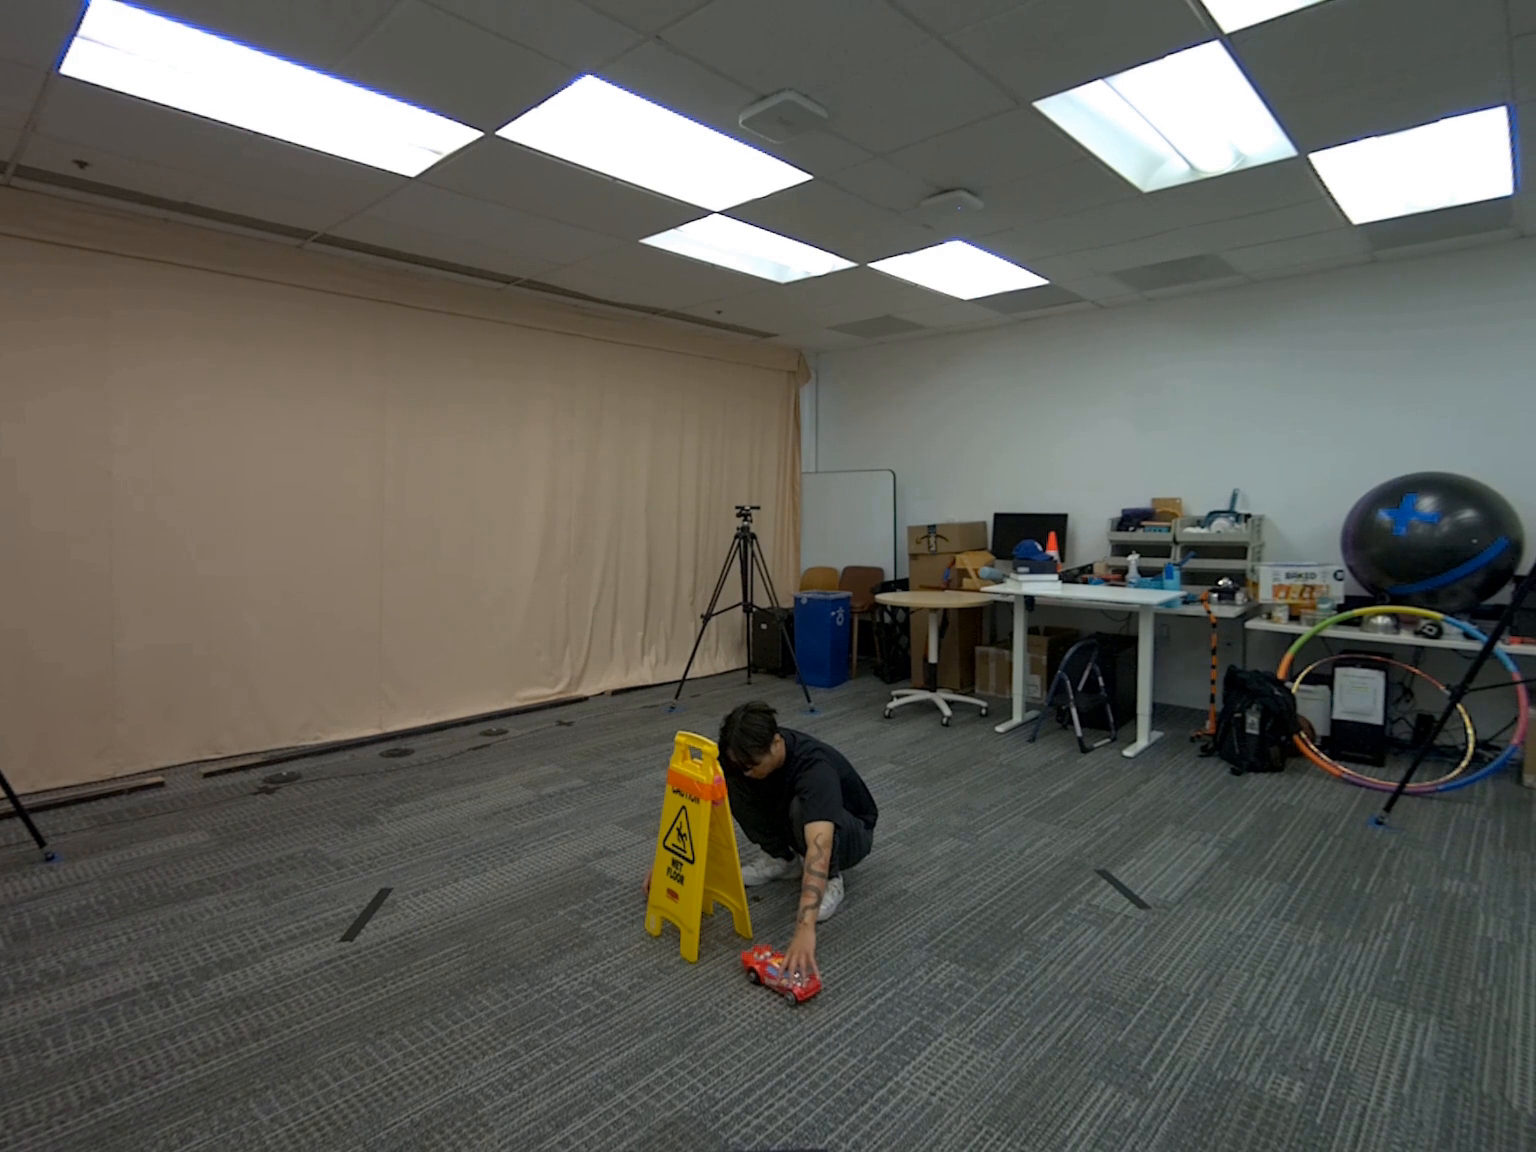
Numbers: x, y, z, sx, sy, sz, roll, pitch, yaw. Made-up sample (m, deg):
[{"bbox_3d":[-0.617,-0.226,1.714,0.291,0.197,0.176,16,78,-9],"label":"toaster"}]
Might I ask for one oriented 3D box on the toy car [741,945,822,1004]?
[{"bbox_3d":[0.023,1.150,2.455,0.126,0.083,0.264,-4,18,-42],"label":"toy car"}]
